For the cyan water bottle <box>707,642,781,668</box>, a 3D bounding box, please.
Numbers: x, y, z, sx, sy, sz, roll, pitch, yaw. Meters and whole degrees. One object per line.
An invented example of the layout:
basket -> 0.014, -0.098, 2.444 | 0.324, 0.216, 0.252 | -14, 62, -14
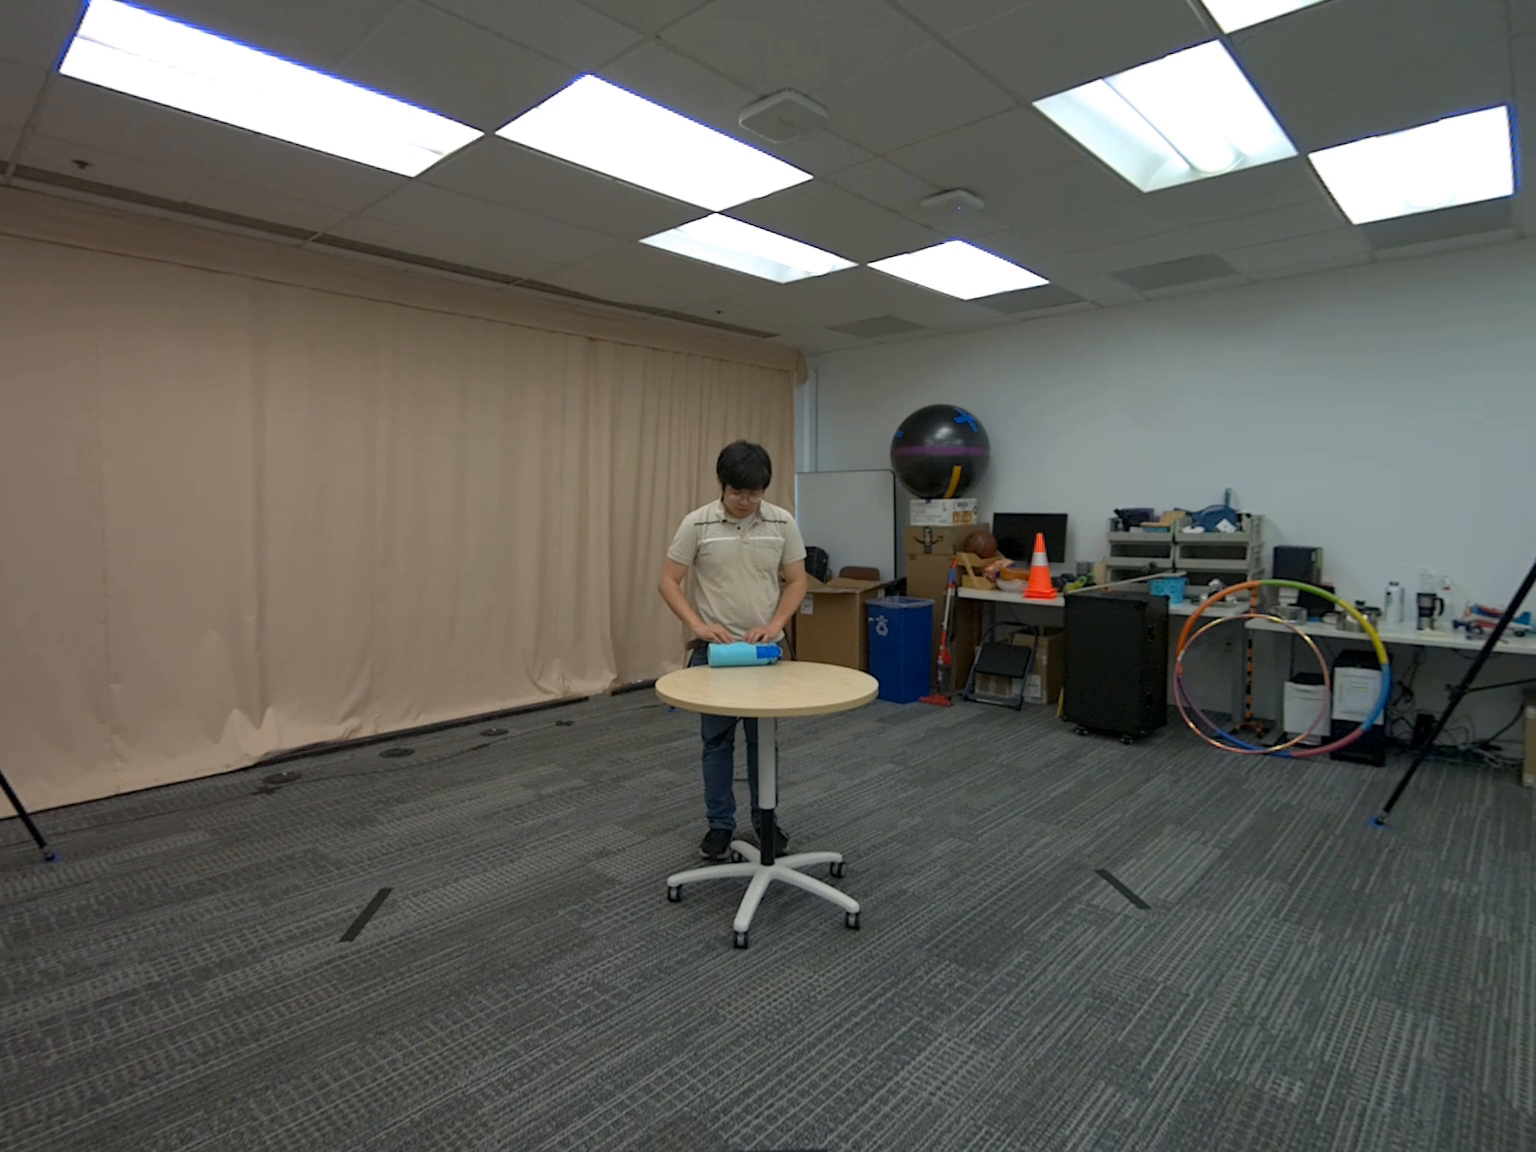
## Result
cyan water bottle -> -0.085, 0.296, 3.209 | 0.281, 0.092, 0.093 | -2, 4, -6
